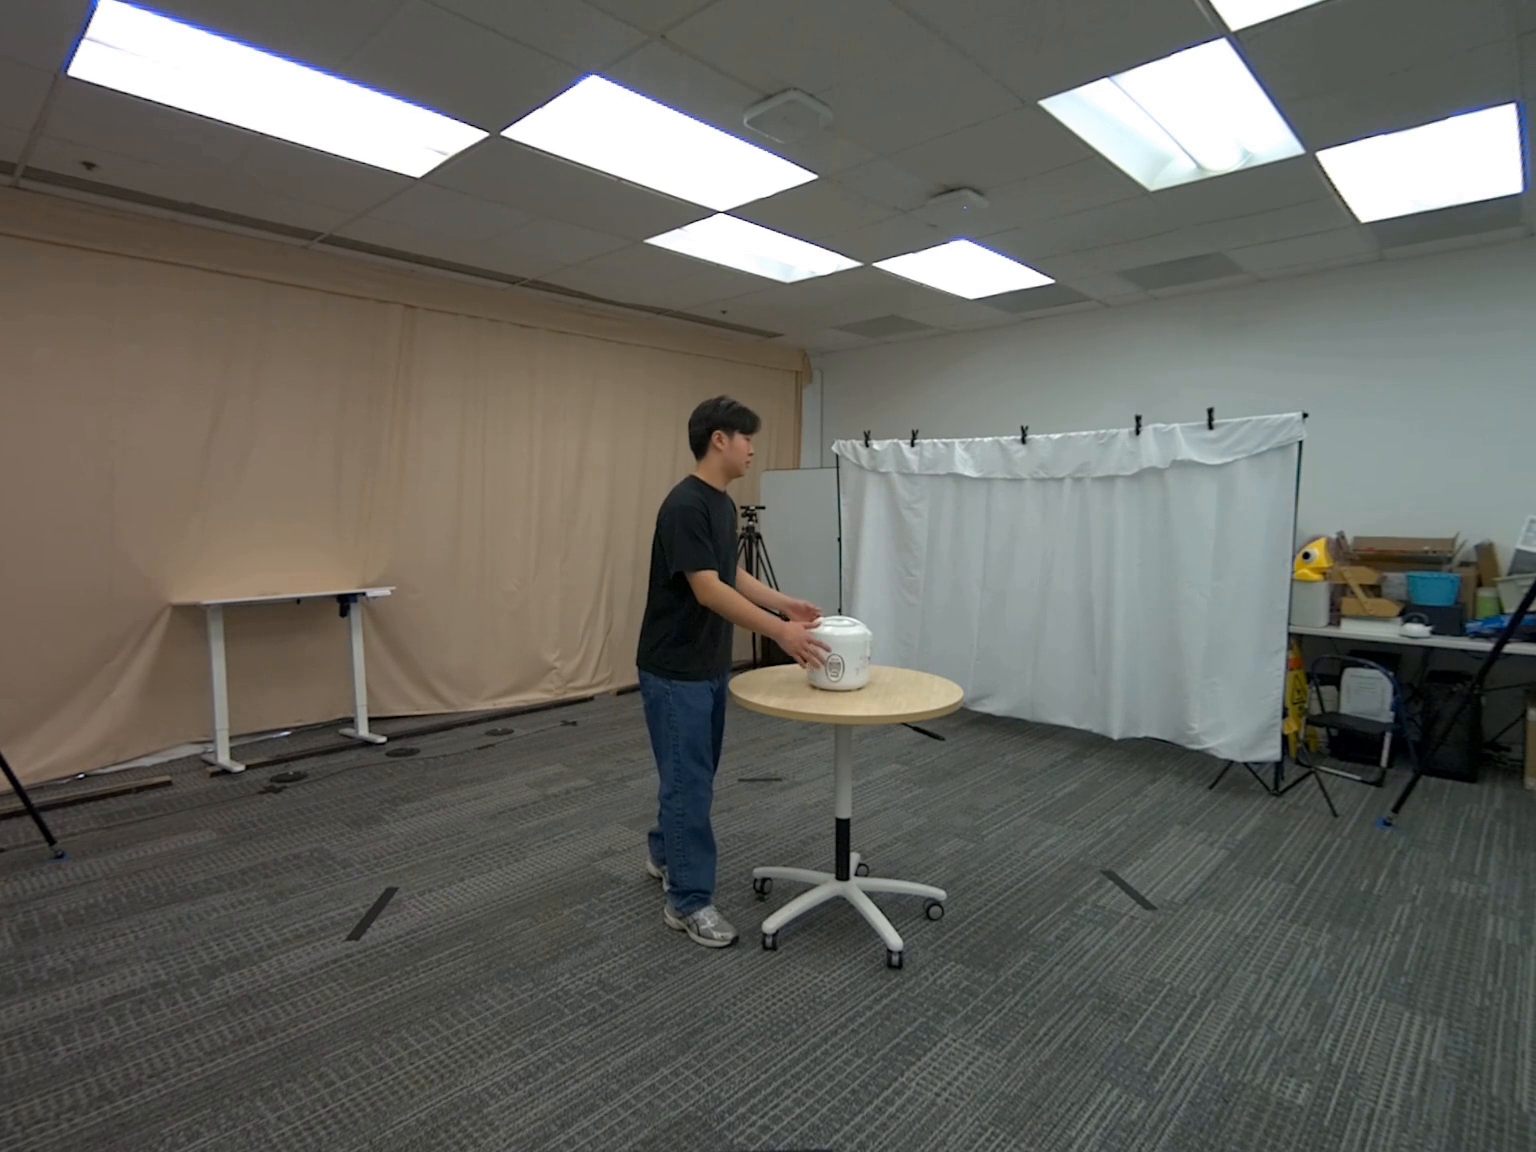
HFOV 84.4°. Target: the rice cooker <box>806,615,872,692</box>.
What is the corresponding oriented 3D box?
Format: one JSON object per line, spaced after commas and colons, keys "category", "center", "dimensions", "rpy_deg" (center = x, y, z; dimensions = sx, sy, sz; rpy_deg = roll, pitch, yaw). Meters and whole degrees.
{"category": "rice cooker", "center": [0.239, 0.250, 2.772], "dimensions": [0.223, 0.232, 0.215], "rpy_deg": [1, 4, 11]}
